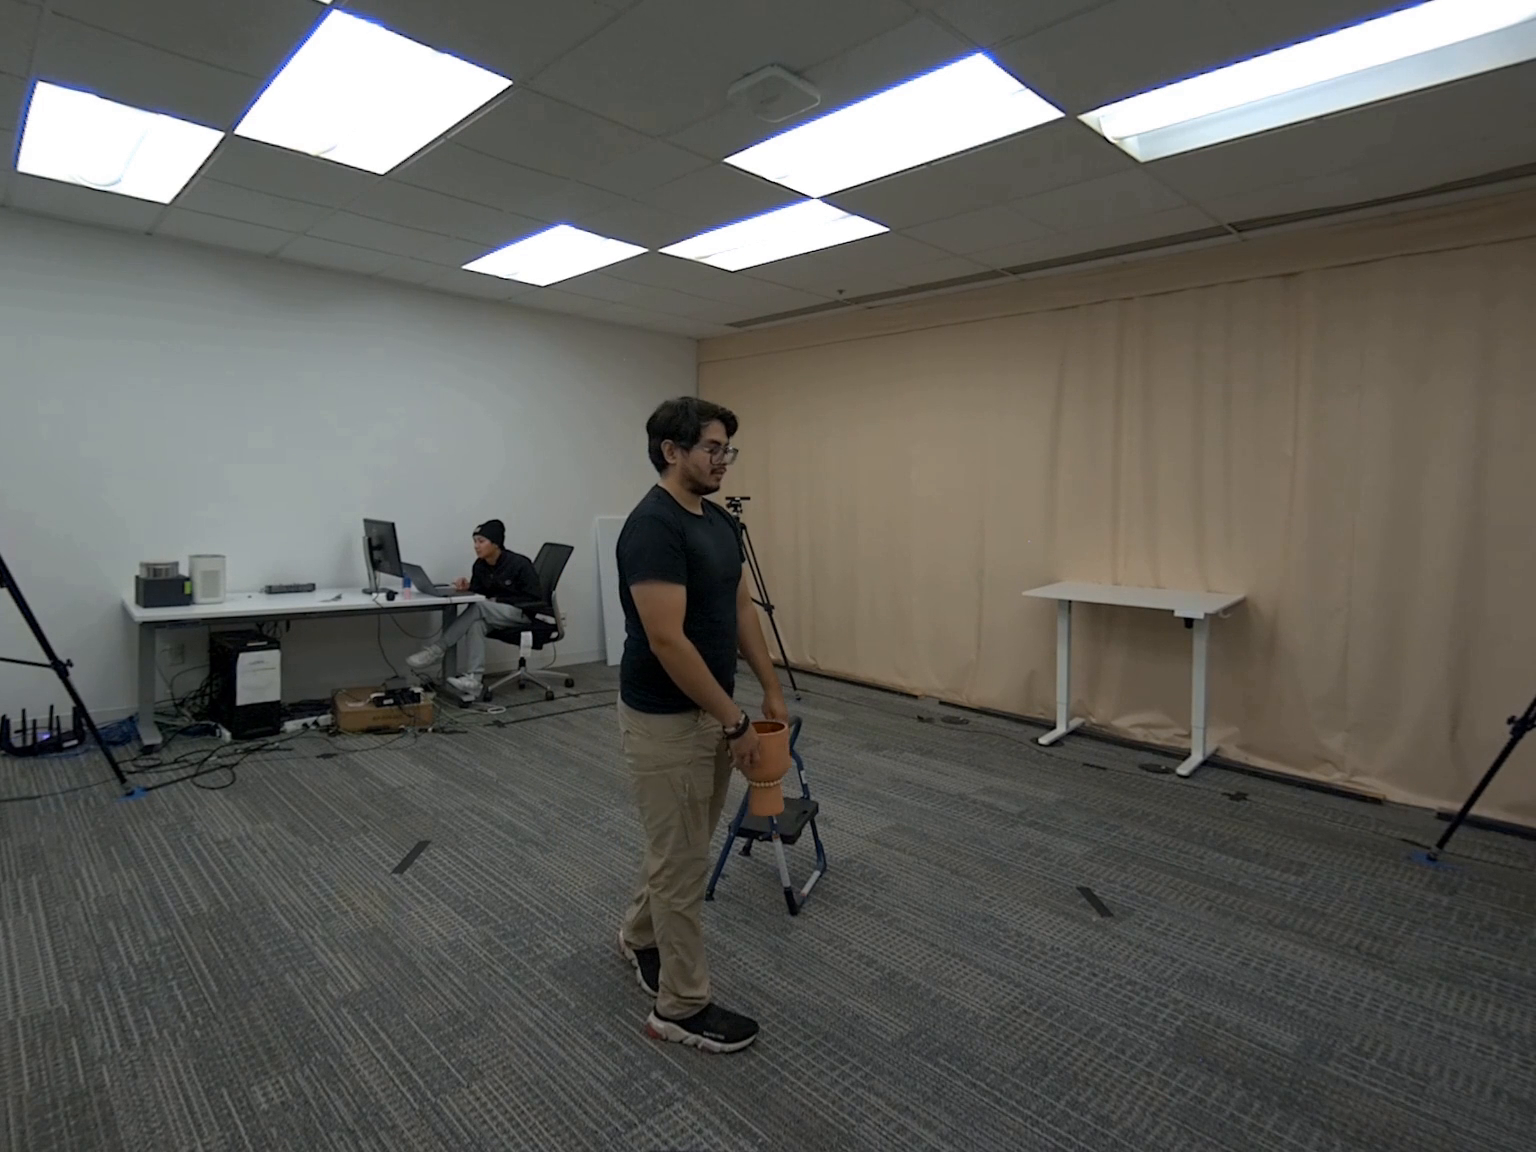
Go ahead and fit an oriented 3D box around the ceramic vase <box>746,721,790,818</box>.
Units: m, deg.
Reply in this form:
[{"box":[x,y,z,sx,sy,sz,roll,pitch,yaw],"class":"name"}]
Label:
[{"box":[-0.019,0.507,2.181,0.156,0.219,0.137,-5,4,-26],"class":"ceramic vase"}]
